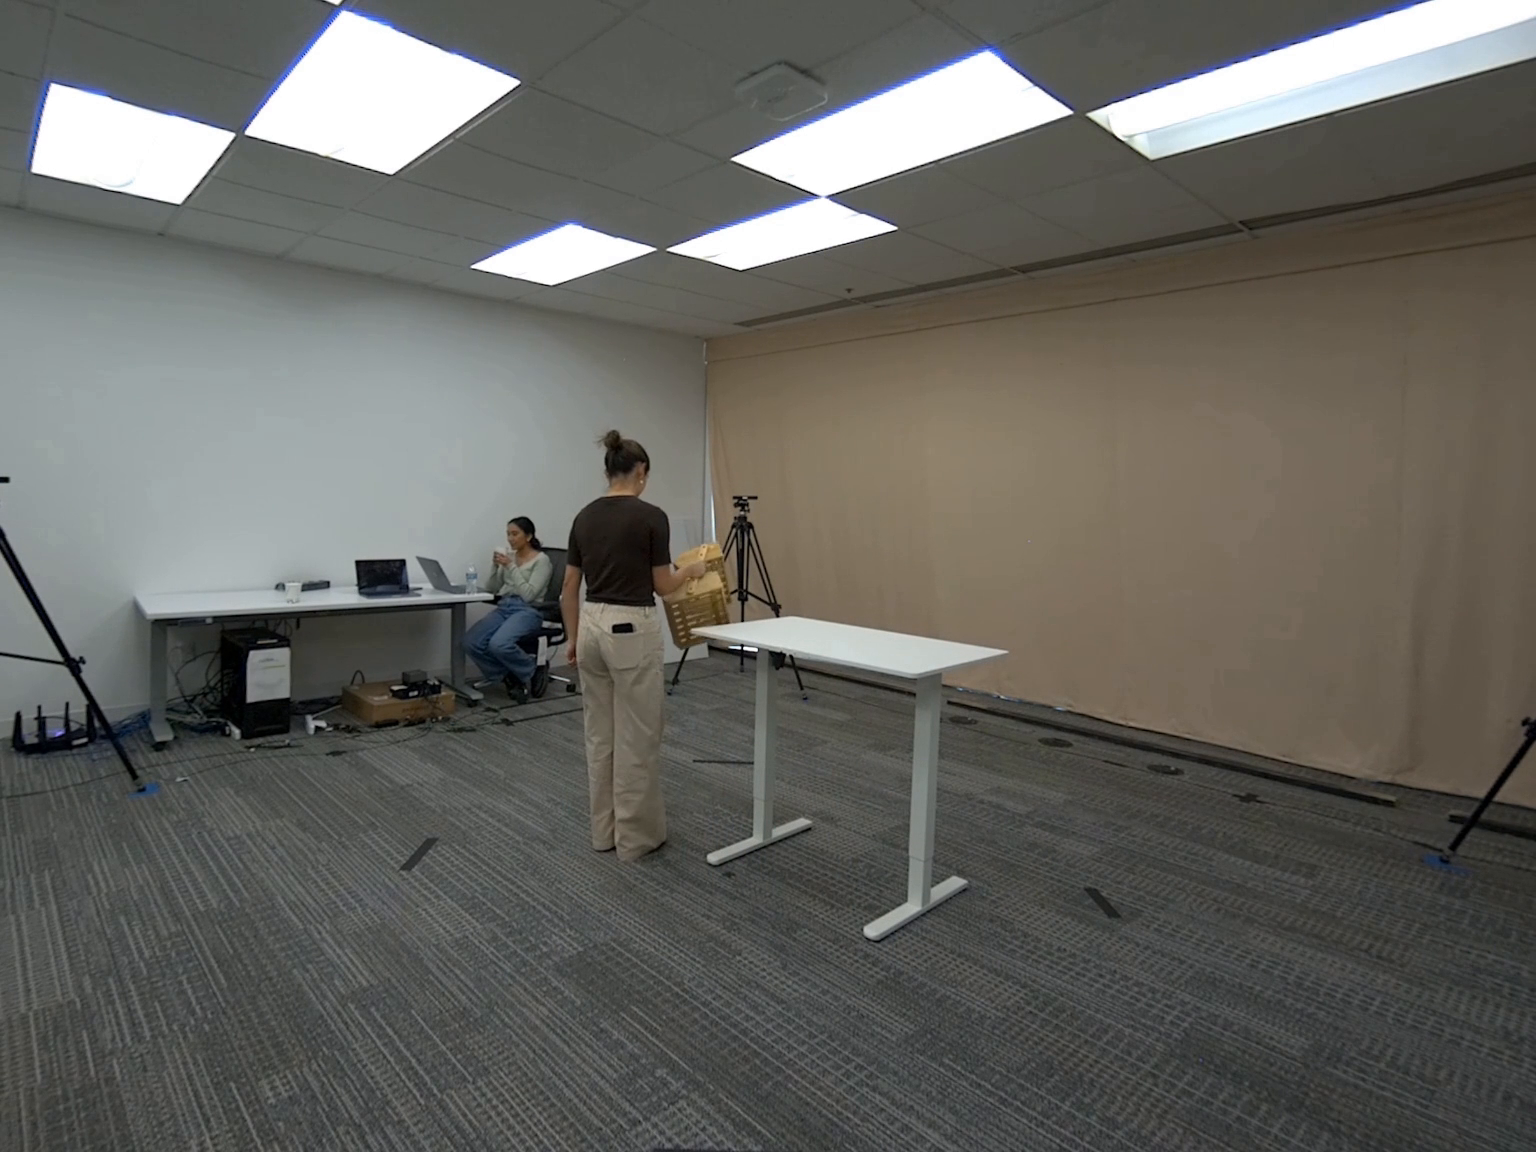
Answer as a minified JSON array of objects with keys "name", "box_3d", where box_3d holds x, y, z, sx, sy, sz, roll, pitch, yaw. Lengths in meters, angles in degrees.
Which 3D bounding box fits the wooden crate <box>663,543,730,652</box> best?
[{"name":"wooden crate","box_3d":[-0.316,0.086,3.564,0.301,0.316,0.281,-17,45,-7]}]
